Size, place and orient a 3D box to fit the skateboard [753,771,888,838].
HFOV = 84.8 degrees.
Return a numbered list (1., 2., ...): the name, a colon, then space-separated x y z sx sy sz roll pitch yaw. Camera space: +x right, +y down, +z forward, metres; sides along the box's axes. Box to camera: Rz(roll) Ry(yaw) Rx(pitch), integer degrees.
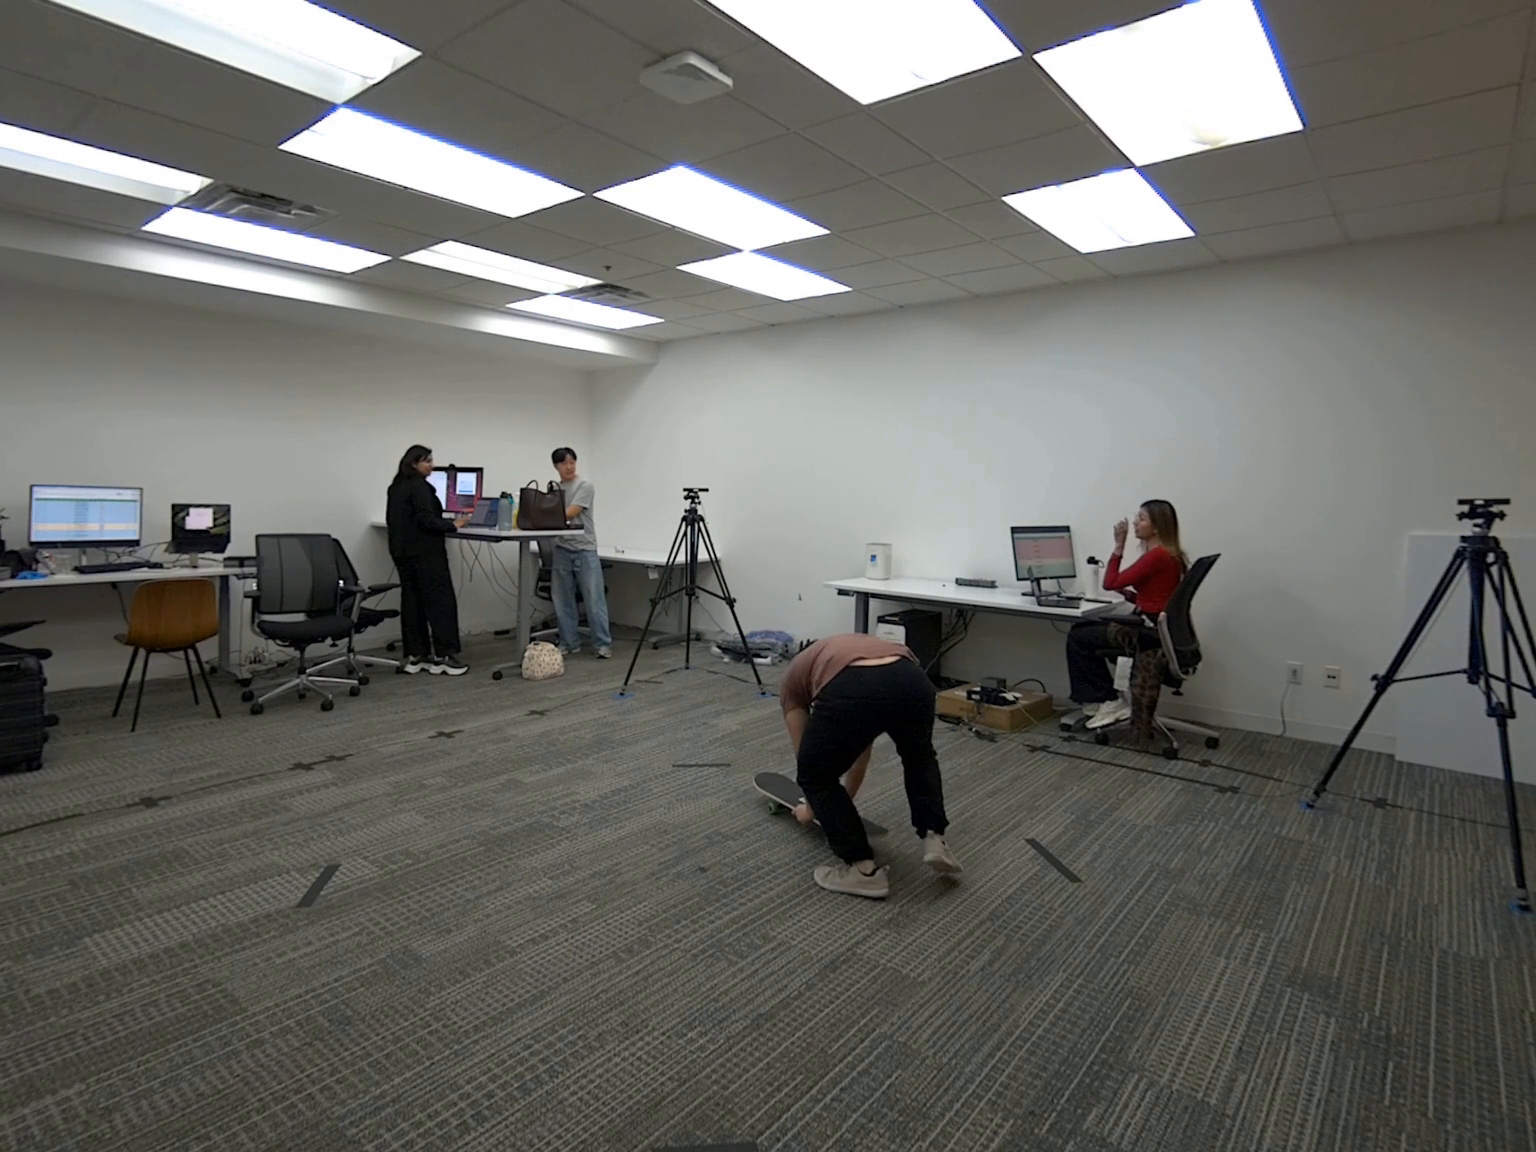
1. skateboard: 0.190 0.980 3.533 0.188 0.110 0.811 -2 7 -33
